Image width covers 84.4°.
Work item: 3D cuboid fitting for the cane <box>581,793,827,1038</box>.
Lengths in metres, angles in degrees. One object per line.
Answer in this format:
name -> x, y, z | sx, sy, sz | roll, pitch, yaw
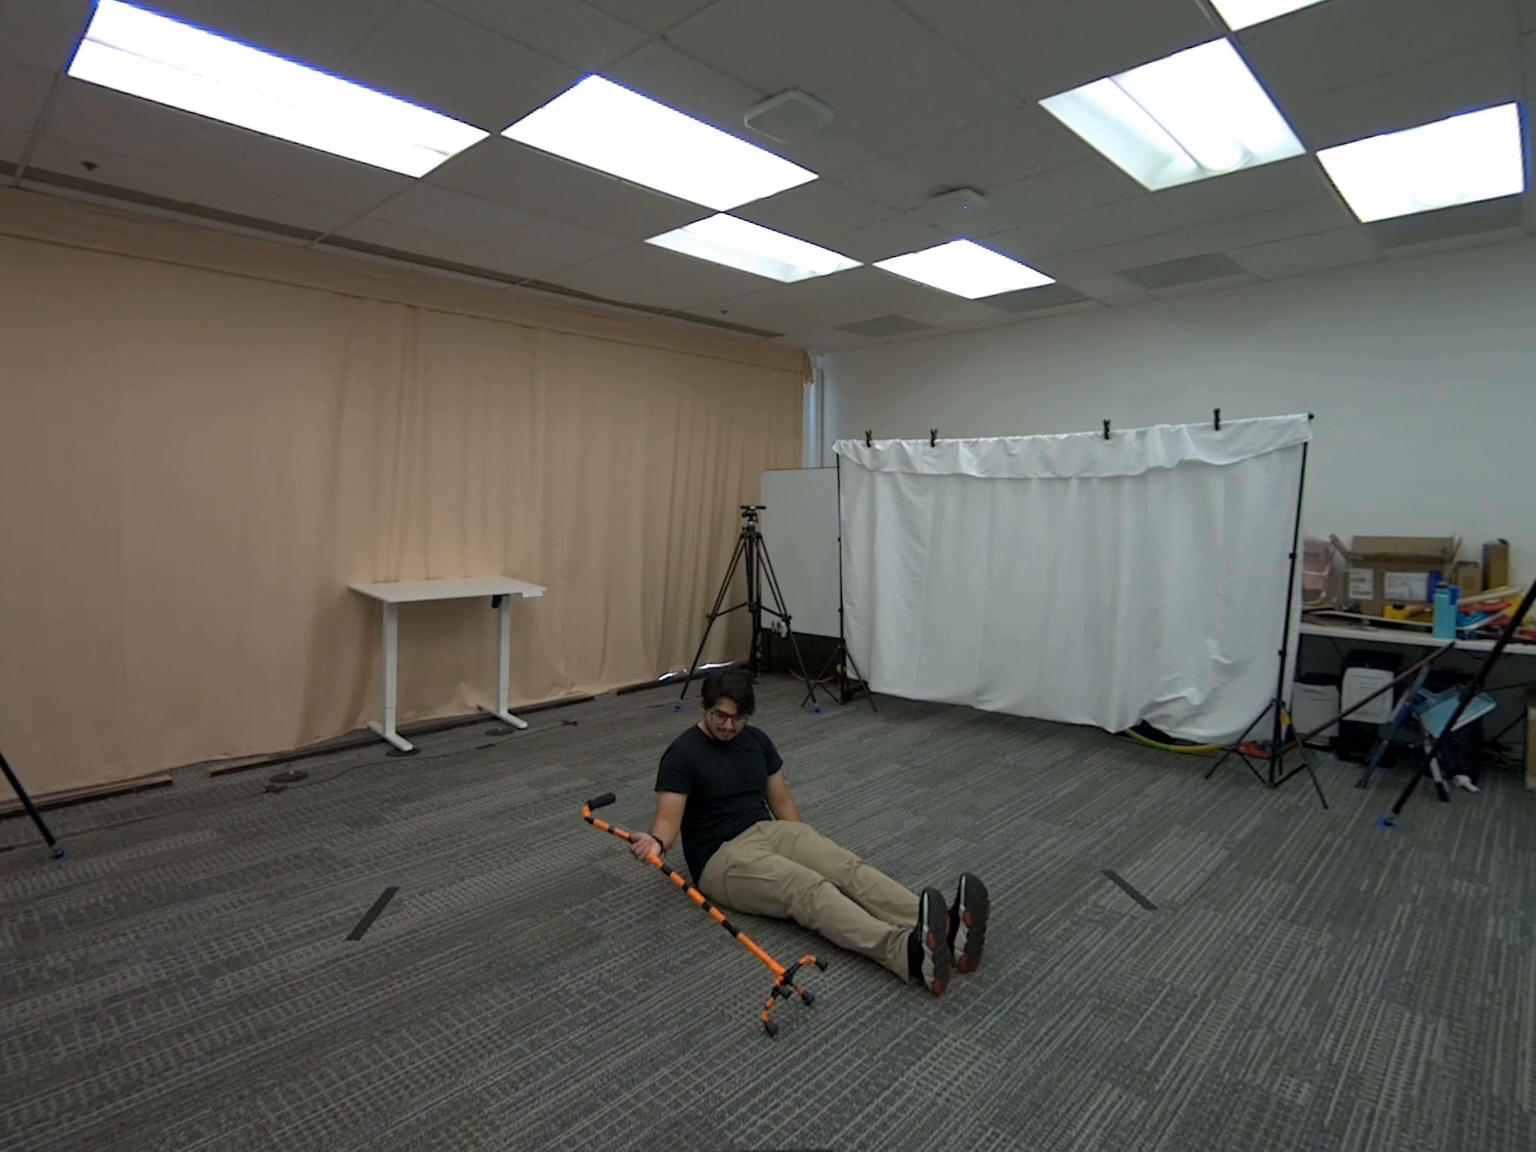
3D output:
cane -> -0.248, 0.938, 2.525 | 0.940, 0.151, 0.200 | 29, 20, 34
